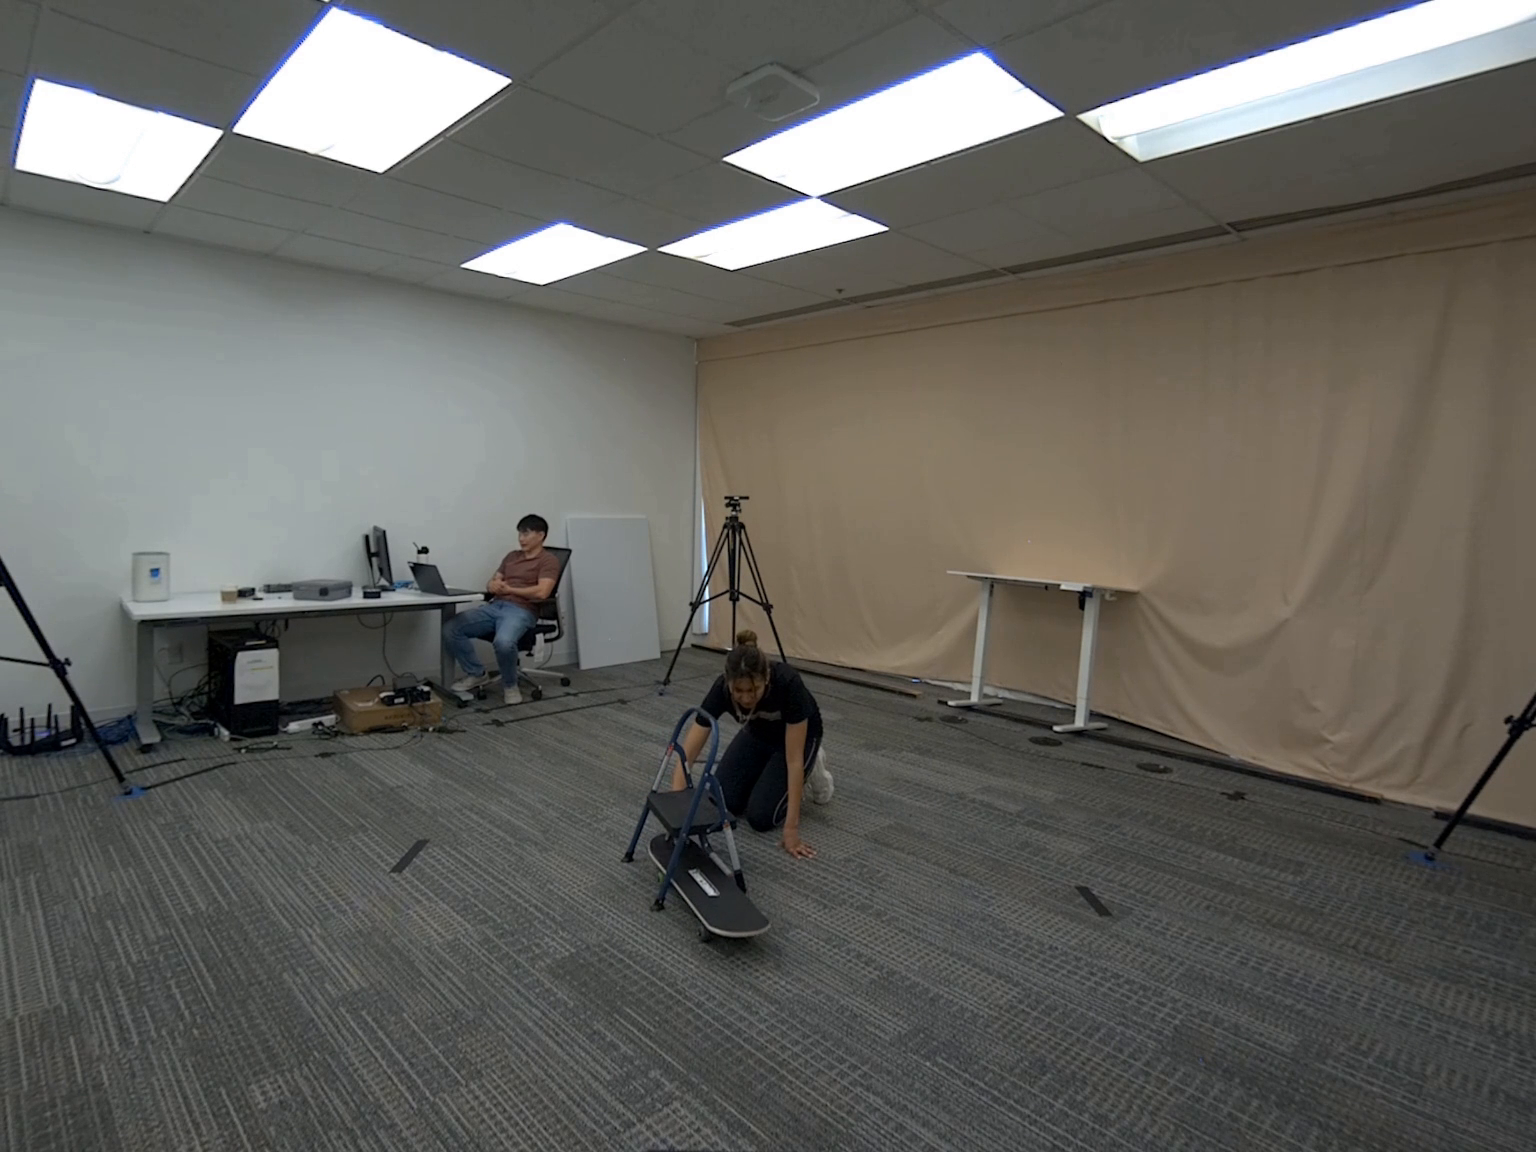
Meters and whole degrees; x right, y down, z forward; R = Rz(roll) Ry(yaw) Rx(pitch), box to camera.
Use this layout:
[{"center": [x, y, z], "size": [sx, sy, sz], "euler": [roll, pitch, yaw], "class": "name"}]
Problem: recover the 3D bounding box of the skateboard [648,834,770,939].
[{"center": [-0.227, 1.066, 2.848], "size": [0.190, 0.110, 0.802], "euler": [0, 6, -25], "class": "skateboard"}]
